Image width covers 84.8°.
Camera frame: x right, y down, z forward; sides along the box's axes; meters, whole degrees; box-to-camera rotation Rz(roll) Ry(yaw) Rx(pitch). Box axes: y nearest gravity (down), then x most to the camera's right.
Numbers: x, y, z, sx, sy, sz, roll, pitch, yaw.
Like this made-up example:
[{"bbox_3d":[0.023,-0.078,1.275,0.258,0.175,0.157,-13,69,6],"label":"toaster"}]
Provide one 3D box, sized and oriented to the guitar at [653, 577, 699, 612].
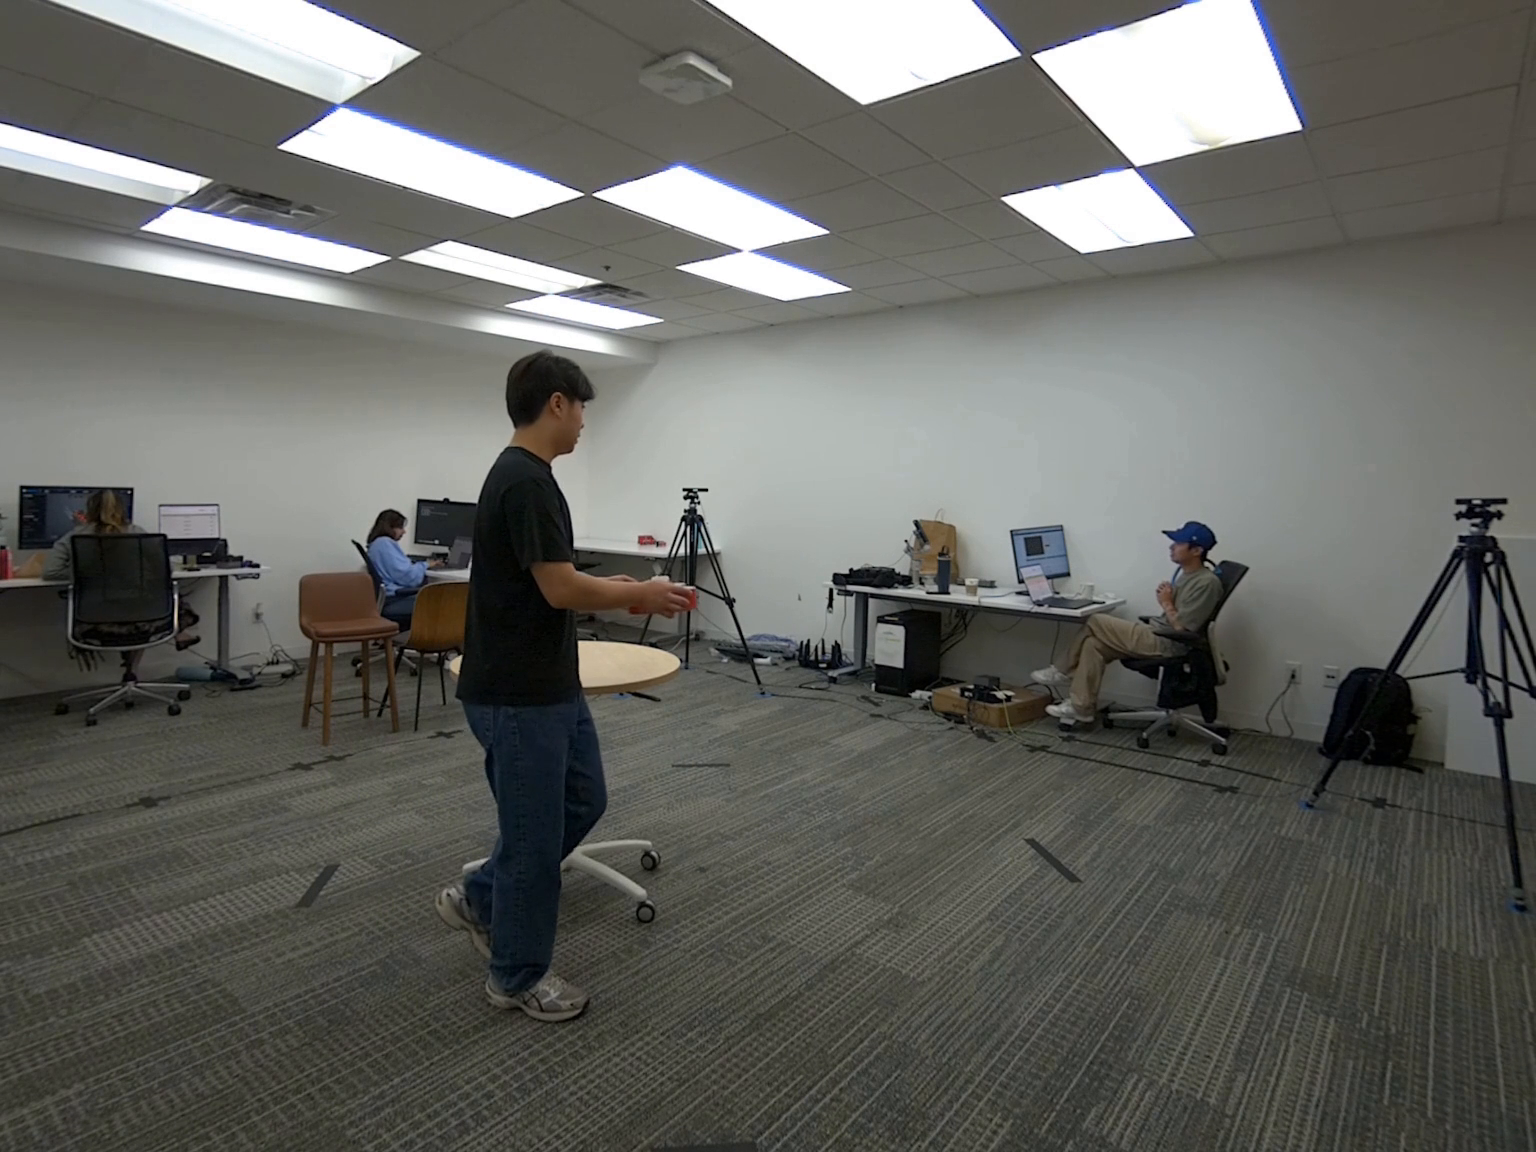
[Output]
[{"bbox_3d":[-0.352,0.049,2.574,0.194,0.070,0.496,-6,4,4],"label":"guitar"}]
